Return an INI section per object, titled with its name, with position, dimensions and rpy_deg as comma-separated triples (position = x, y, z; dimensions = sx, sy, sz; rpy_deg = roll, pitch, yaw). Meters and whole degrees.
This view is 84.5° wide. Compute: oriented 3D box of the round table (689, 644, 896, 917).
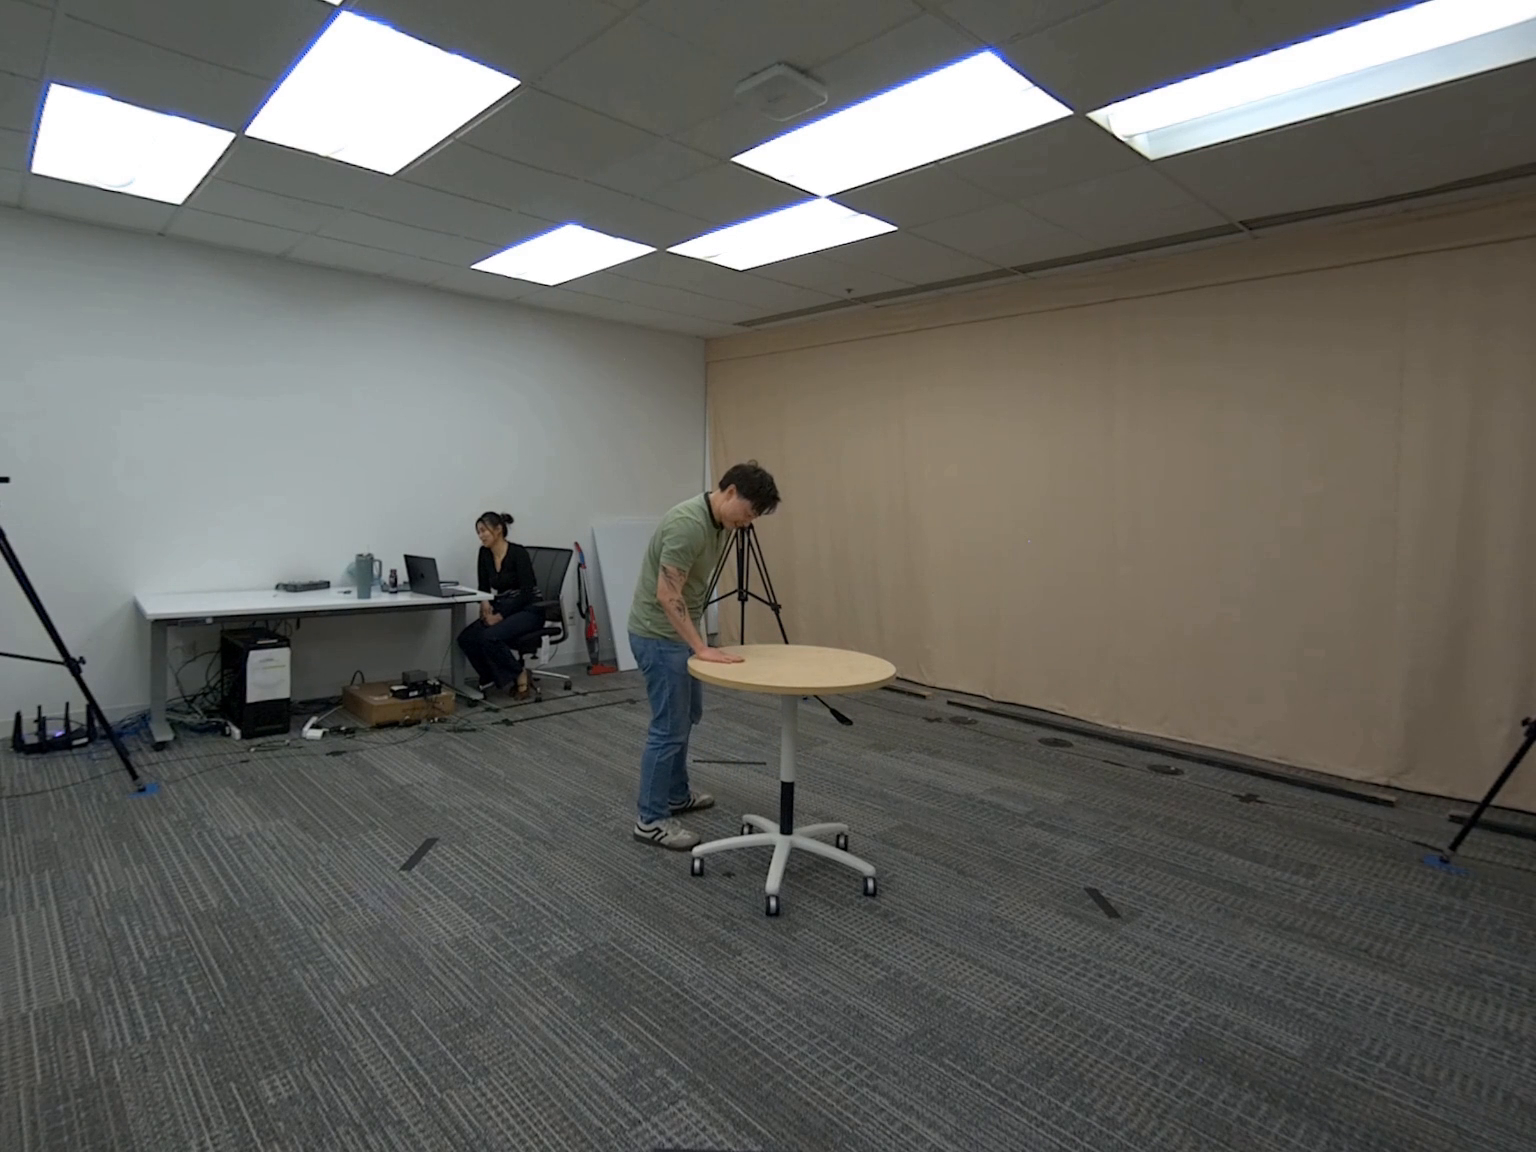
[round table]
position = 0.070, 0.717, 3.131
dimensions = 0.763, 0.792, 0.767
rpy_deg = 1, 4, -1
